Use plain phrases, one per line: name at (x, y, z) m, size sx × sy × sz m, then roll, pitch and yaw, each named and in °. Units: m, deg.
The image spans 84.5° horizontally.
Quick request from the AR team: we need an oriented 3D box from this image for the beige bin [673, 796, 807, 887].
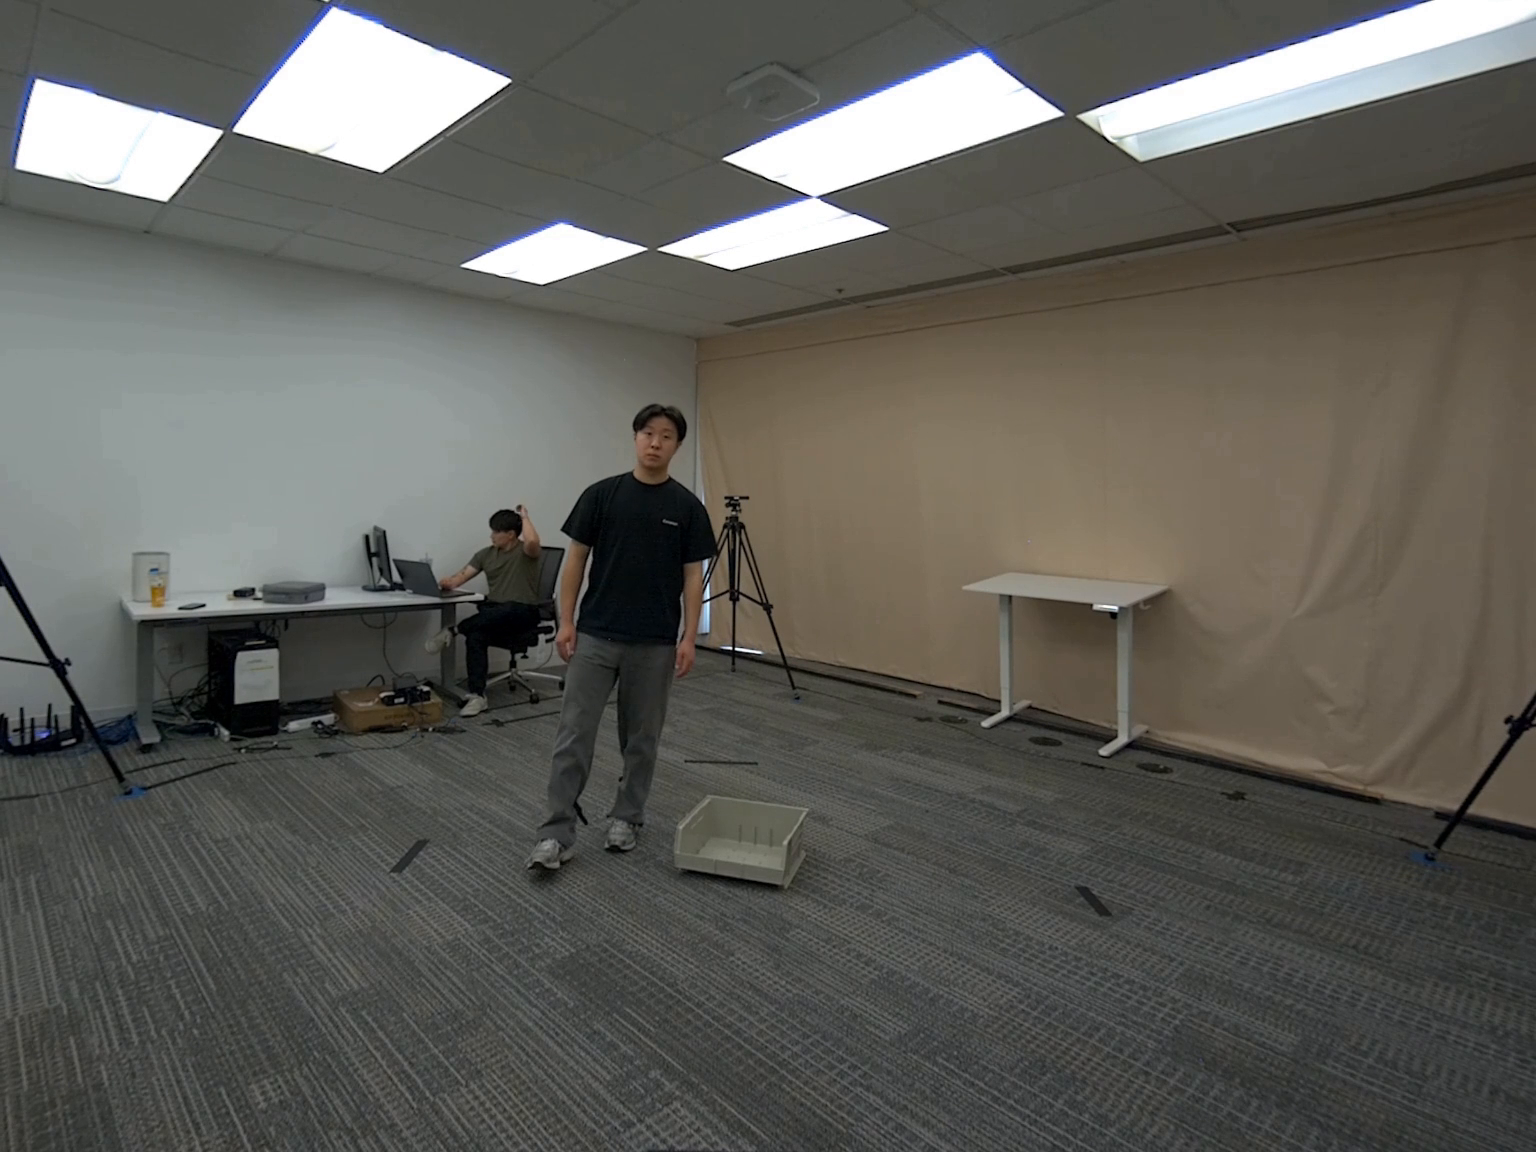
beige bin at (-0.098, 1.008, 3.188) m, size 0.428 × 0.188 × 0.373 m, roll 2°, pitch 4°, yaw 17°
